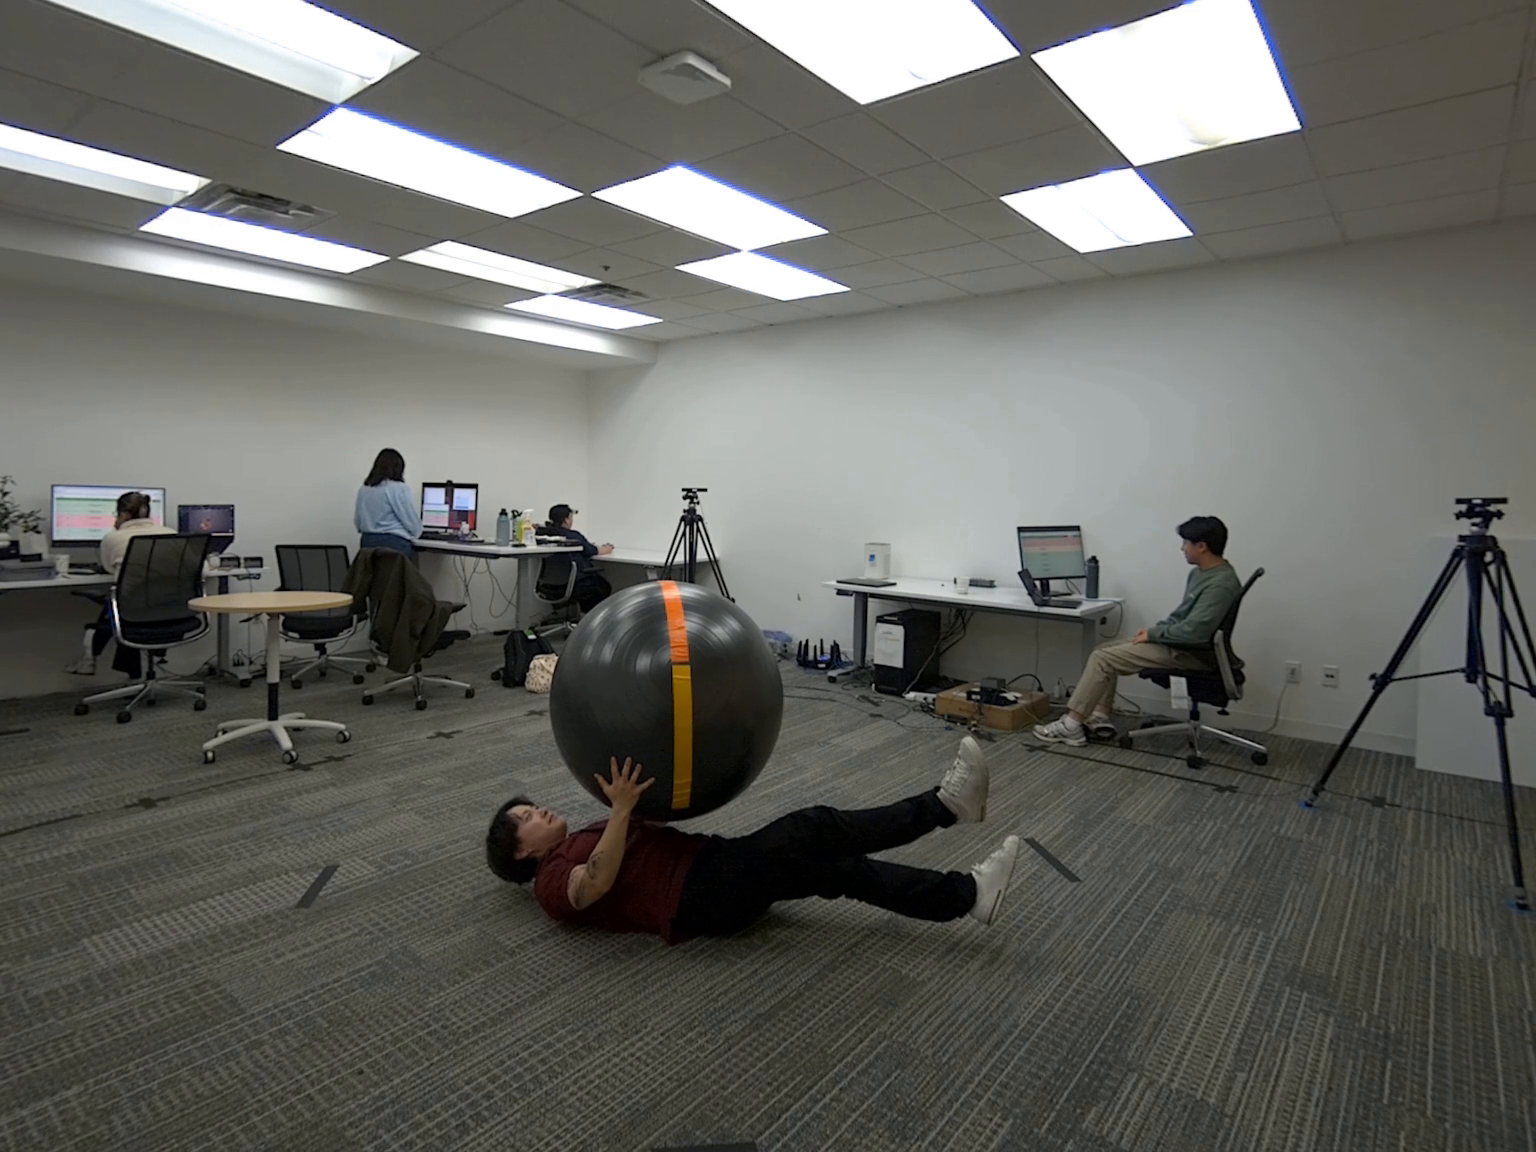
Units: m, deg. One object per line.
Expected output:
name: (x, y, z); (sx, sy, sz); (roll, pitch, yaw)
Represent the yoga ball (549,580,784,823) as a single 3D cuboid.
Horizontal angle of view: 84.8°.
yoga ball: (-0.330, 0.397, 2.764); (0.757, 0.755, 0.762); (1, 4, -2)
